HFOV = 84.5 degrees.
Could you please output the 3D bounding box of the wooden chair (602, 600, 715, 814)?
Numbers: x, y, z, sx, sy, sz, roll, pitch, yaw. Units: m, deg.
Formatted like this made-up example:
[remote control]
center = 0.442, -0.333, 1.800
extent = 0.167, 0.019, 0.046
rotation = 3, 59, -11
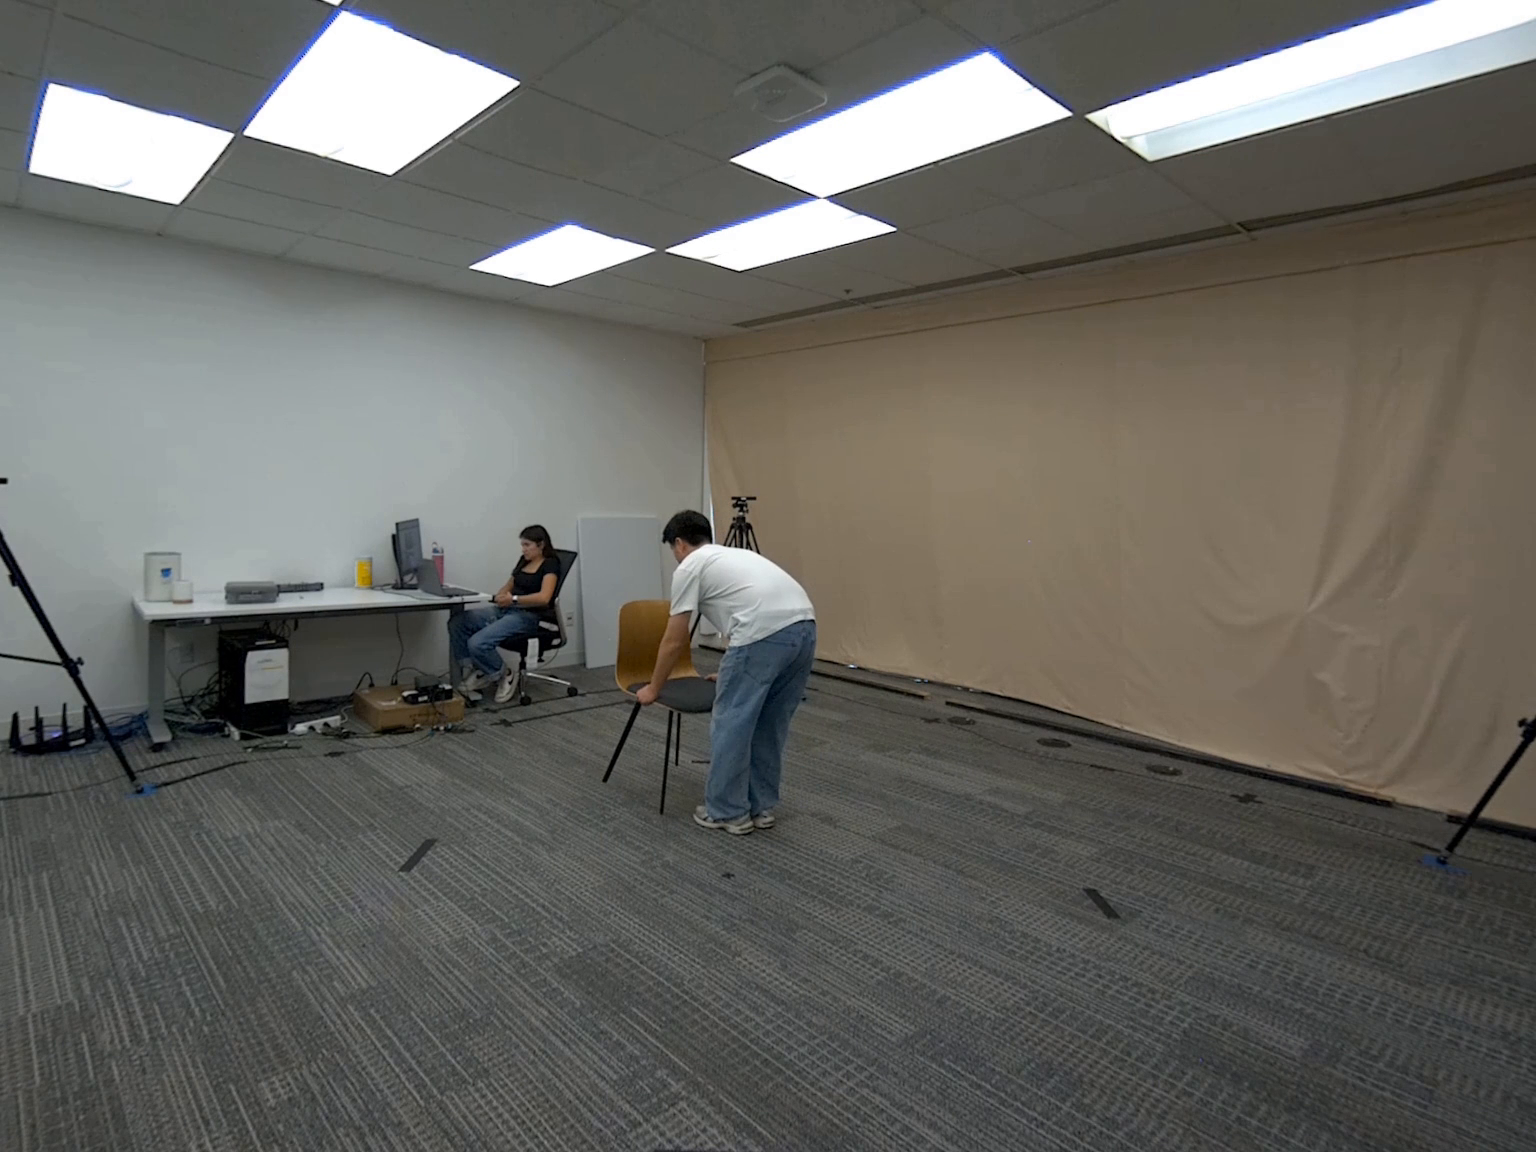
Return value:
[wooden chair]
center = -0.422, 0.562, 3.874
extent = 0.467, 0.876, 0.536
rotation = -1, 3, -44
